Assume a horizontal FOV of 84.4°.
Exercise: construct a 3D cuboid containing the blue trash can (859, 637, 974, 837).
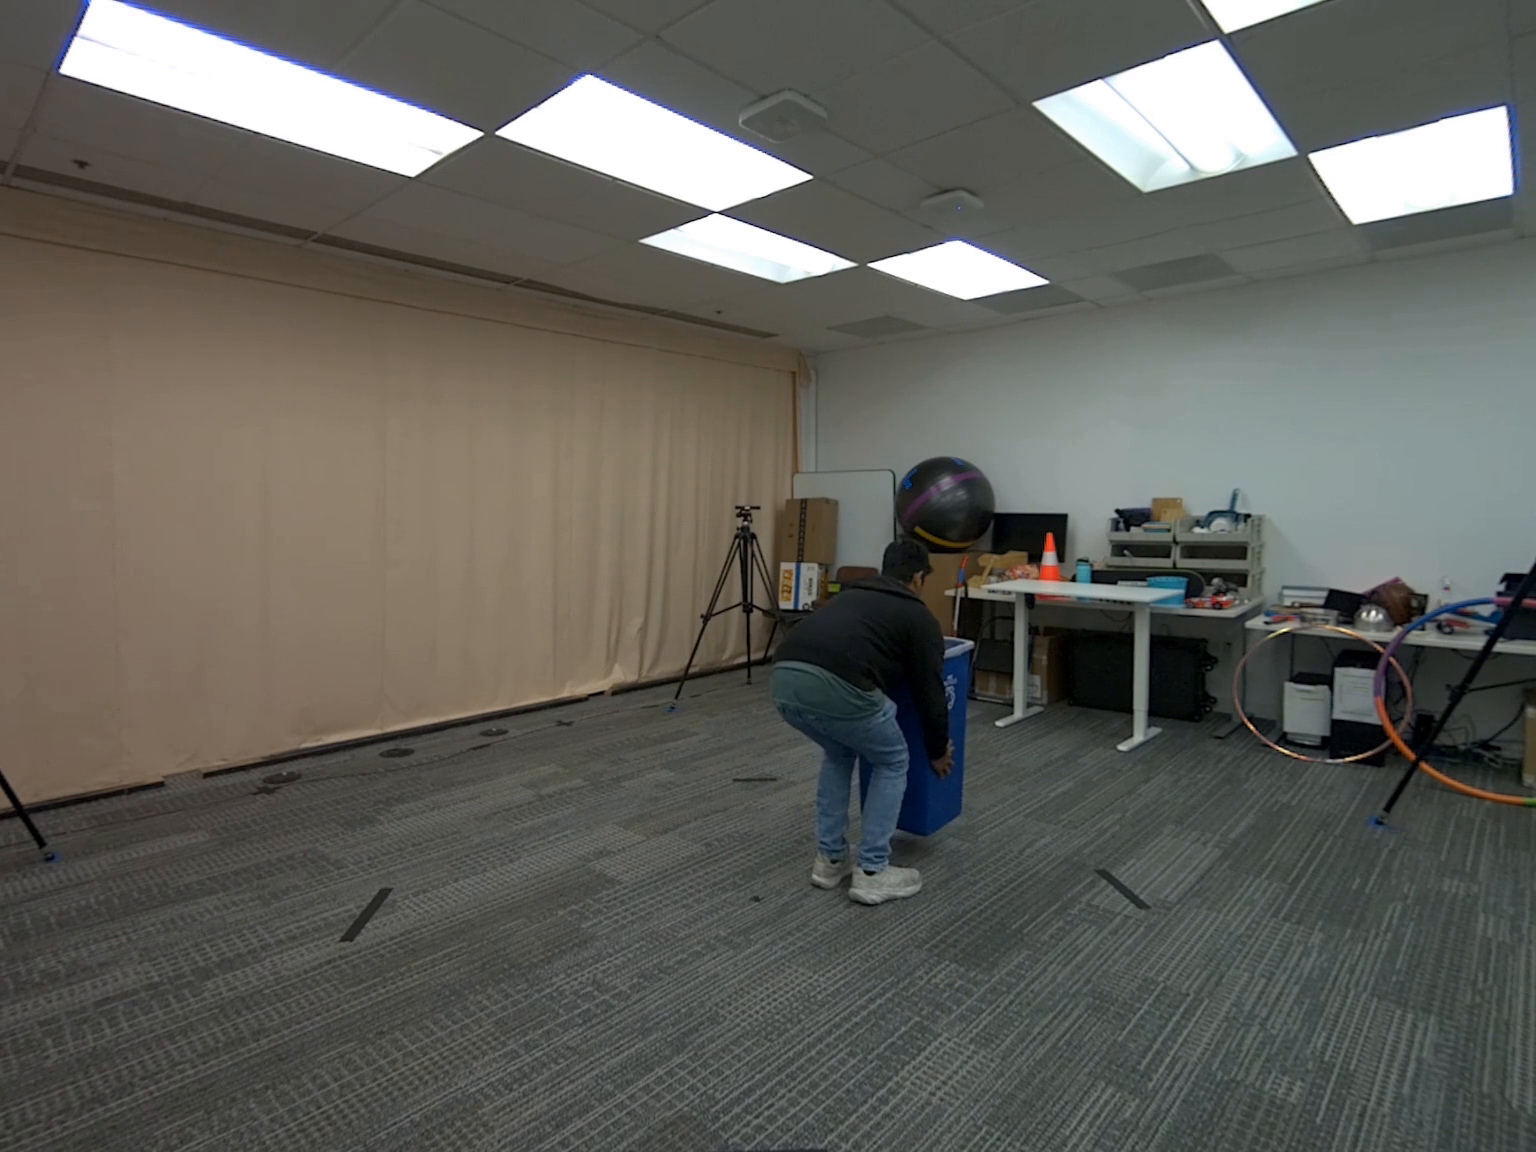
[{"bbox_3d":[0.592,0.616,3.398,0.391,0.711,0.363,5,8,40],"label":"blue trash can"}]
